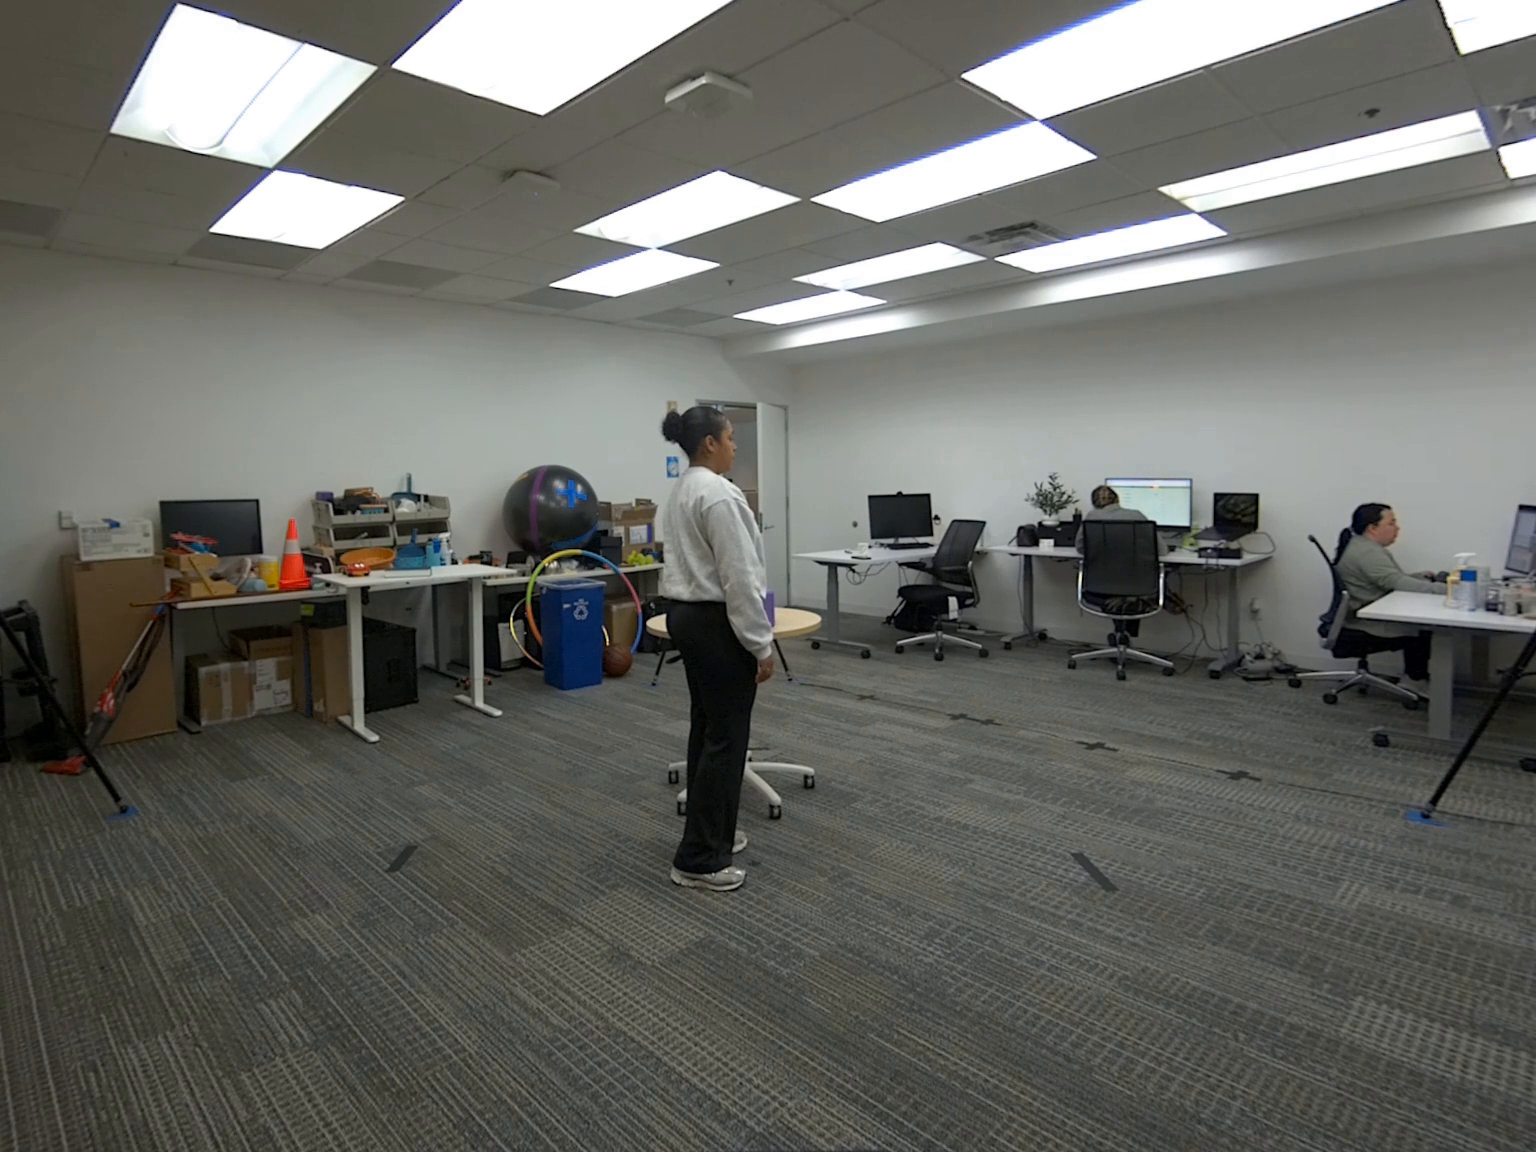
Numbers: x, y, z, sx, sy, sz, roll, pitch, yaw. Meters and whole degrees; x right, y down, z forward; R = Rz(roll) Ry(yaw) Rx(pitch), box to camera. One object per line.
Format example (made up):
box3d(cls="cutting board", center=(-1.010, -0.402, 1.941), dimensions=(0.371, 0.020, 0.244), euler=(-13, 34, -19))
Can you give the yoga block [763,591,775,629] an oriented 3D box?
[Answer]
box3d(cls="yoga block", center=(-0.039, 0.130, 3.621), dimensions=(0.075, 0.148, 0.233), euler=(-2, 5, -14))
